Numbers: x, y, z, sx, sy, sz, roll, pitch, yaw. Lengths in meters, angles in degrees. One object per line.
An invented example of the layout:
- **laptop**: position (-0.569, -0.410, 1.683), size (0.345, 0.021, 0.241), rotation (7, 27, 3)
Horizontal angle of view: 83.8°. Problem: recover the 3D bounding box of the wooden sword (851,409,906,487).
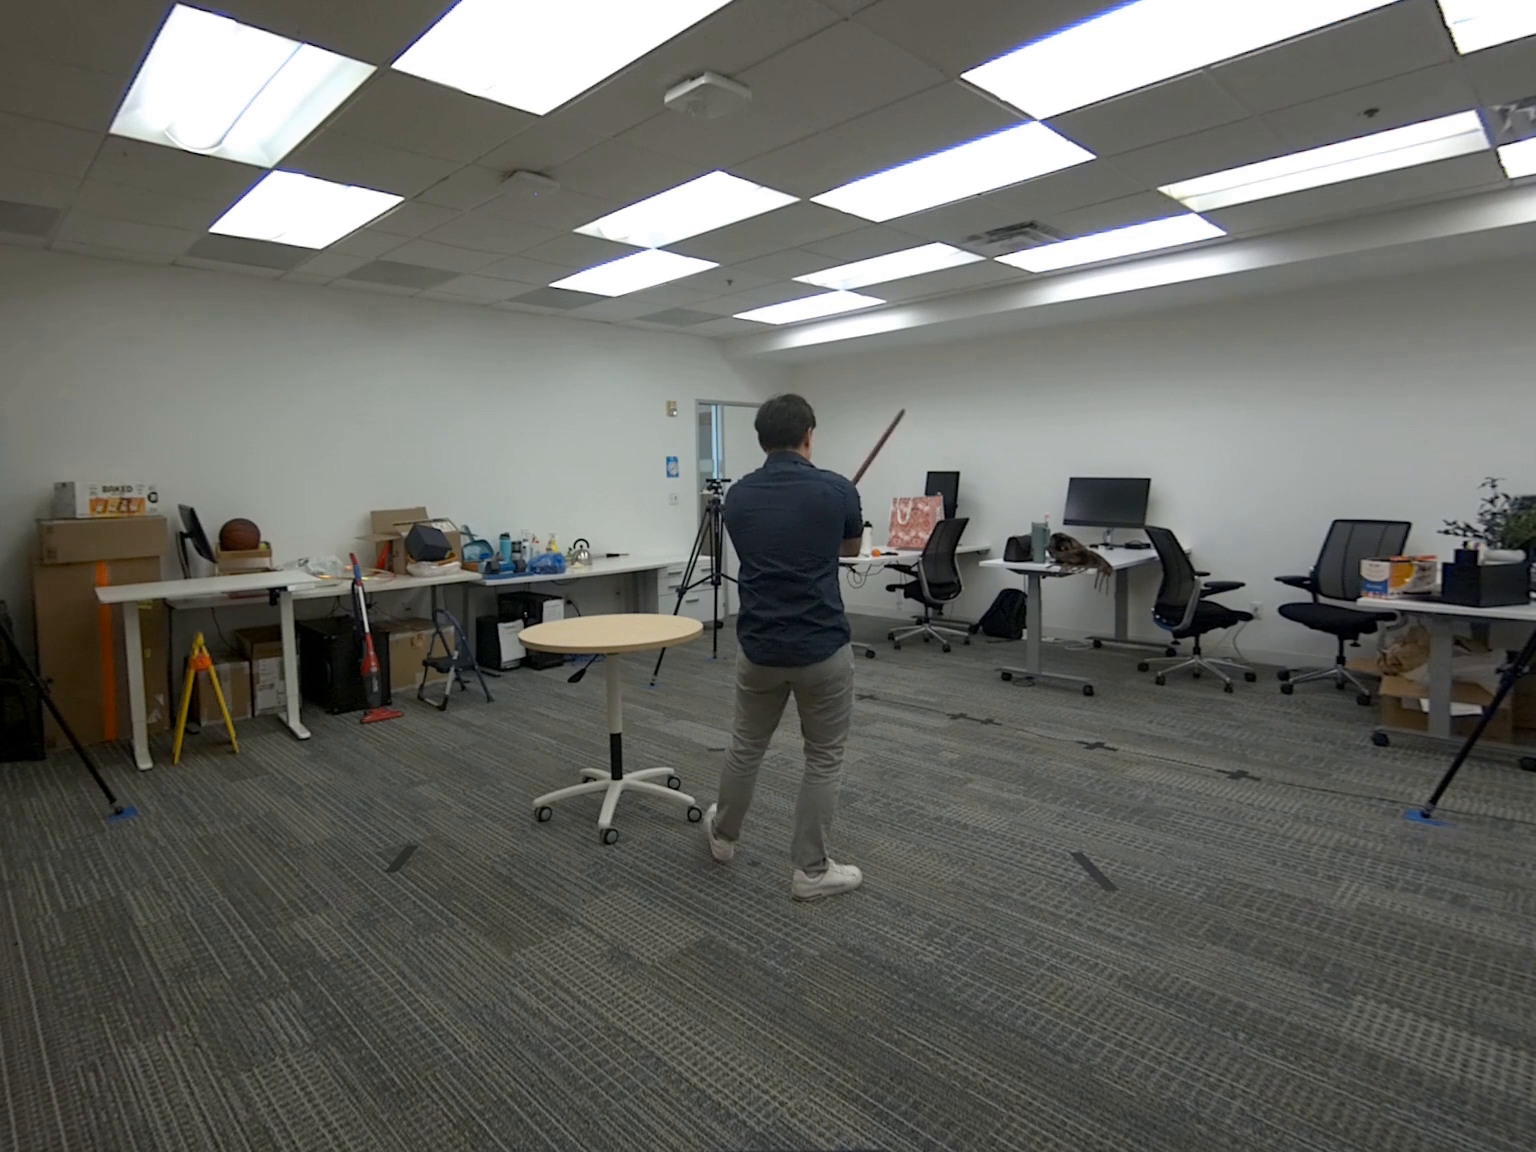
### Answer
- **wooden sword**: position (0.226, -0.204, 3.307), size (0.025, 1.024, 0.050), rotation (33, 2, 18)
